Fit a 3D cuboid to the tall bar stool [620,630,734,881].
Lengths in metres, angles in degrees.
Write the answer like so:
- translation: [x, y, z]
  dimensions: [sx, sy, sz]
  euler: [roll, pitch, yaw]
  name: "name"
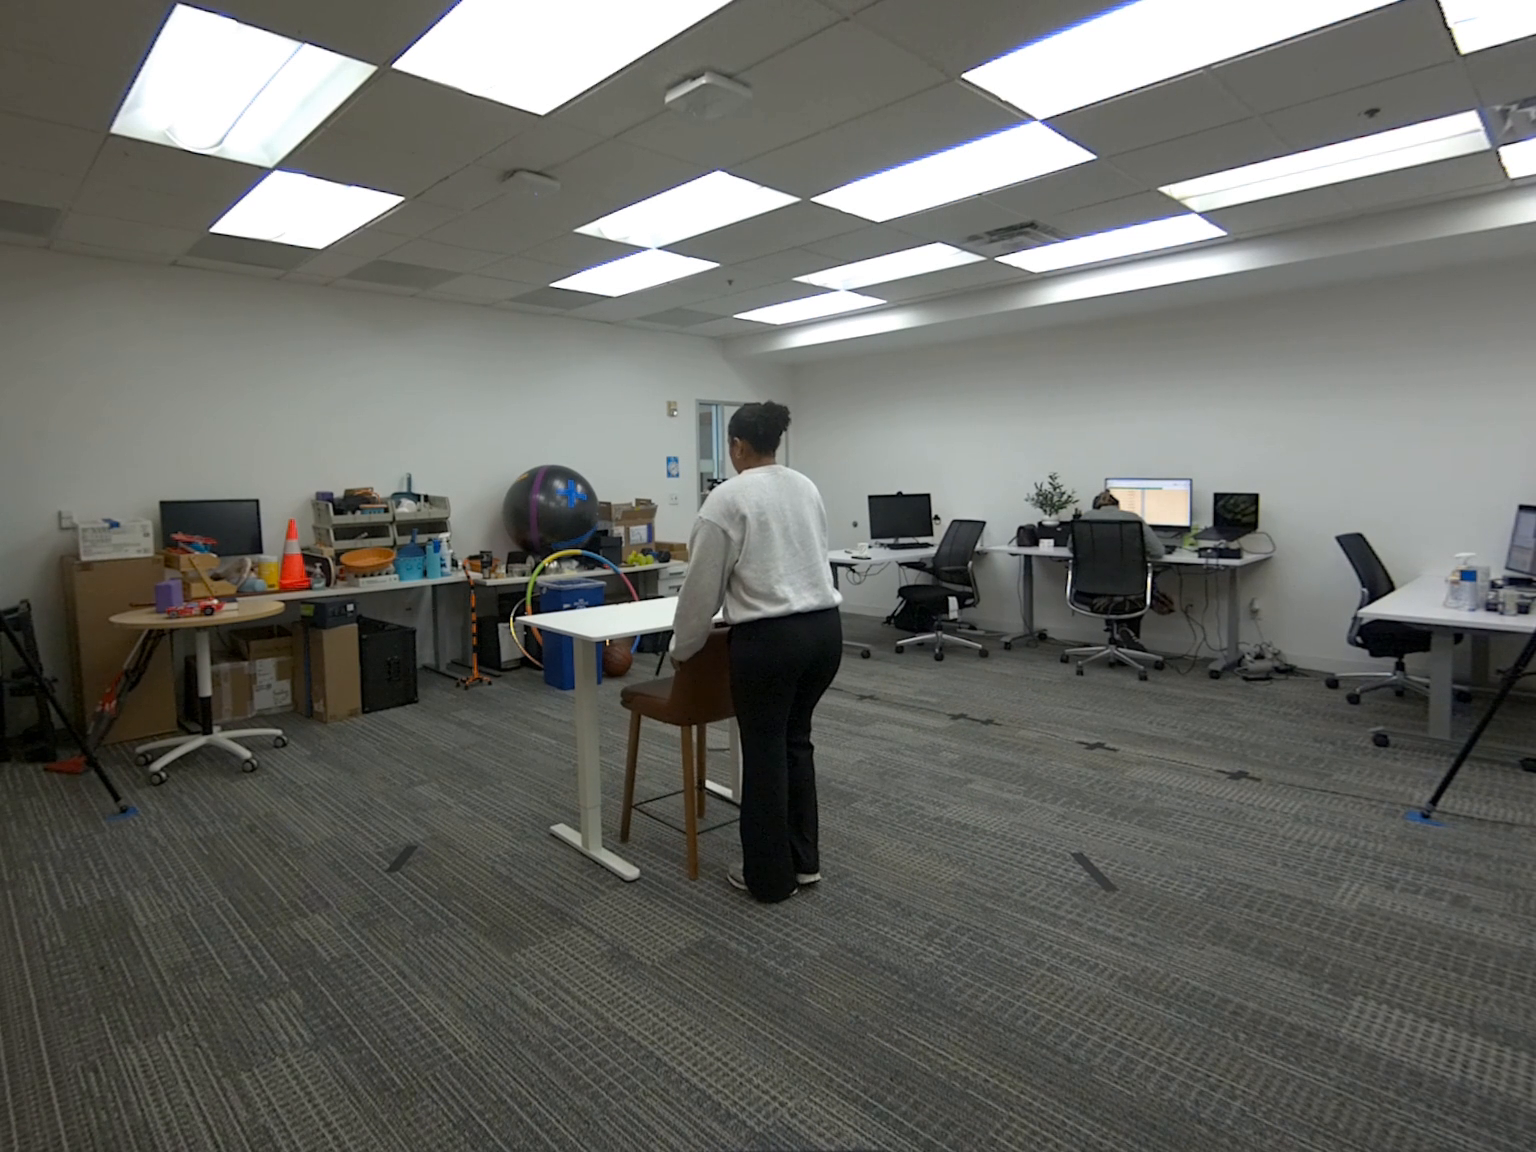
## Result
- translation: [-0.273, 0.598, 3.233]
  dimensions: [0.444, 0.885, 0.483]
  euler: [-4, 8, -40]
  name: "tall bar stool"
